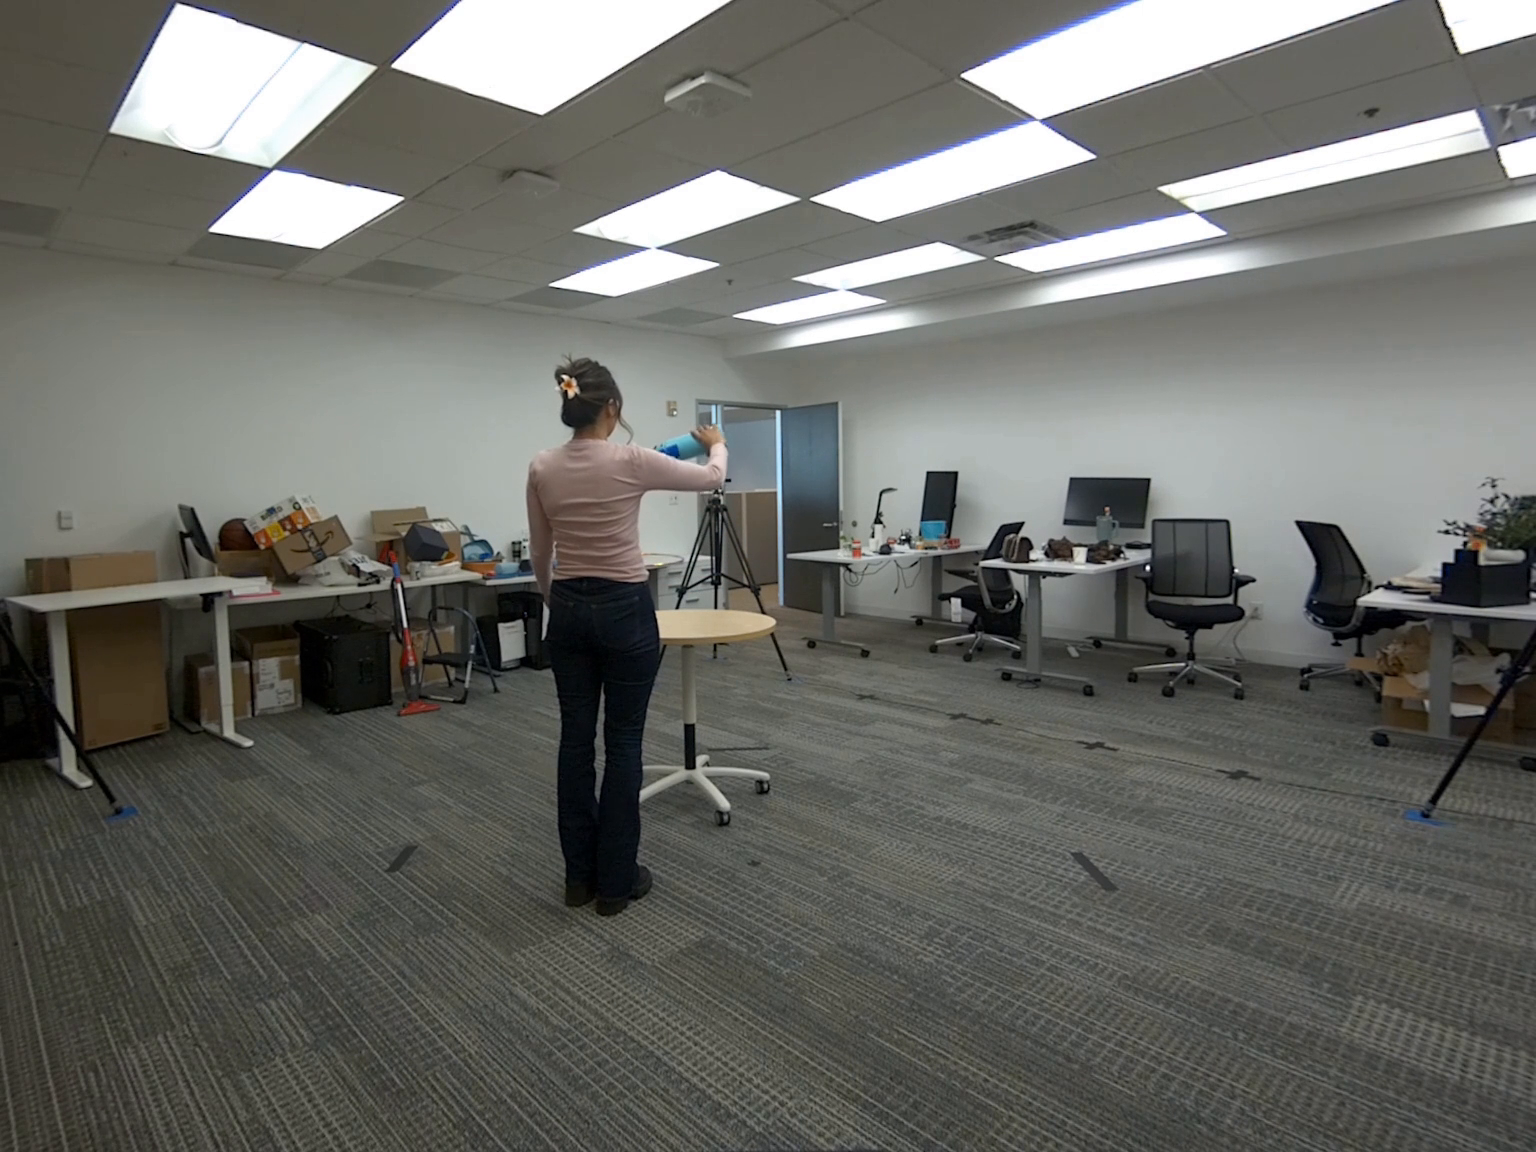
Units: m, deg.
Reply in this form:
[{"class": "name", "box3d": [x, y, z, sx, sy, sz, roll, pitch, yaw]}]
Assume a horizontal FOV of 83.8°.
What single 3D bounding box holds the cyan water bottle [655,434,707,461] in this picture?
[{"class": "cyan water bottle", "box3d": [-0.293, -0.477, 3.179, 0.284, 0.092, 0.092, -15, 4, 3]}]
